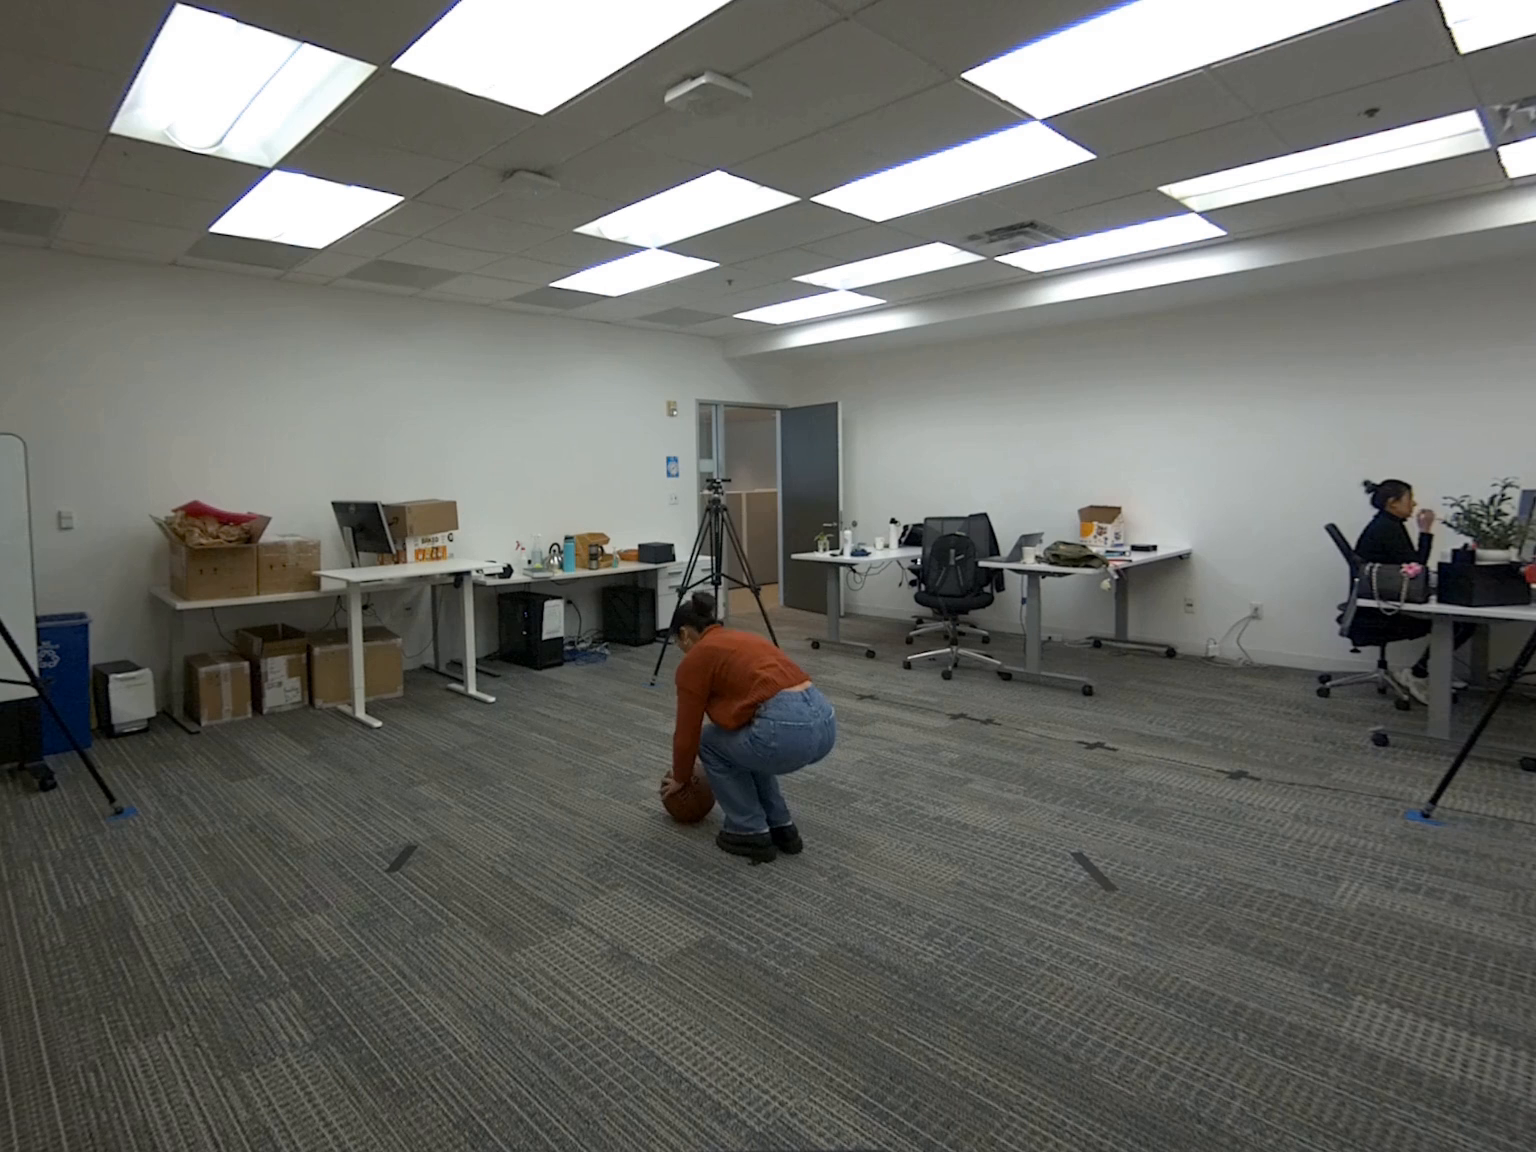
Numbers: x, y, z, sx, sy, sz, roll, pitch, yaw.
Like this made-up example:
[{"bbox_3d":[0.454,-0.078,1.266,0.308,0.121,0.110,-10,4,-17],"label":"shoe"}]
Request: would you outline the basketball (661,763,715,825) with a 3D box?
[{"bbox_3d":[-0.325,0.883,3.530,0.236,0.235,0.237,-1,5,-2],"label":"basketball"}]
